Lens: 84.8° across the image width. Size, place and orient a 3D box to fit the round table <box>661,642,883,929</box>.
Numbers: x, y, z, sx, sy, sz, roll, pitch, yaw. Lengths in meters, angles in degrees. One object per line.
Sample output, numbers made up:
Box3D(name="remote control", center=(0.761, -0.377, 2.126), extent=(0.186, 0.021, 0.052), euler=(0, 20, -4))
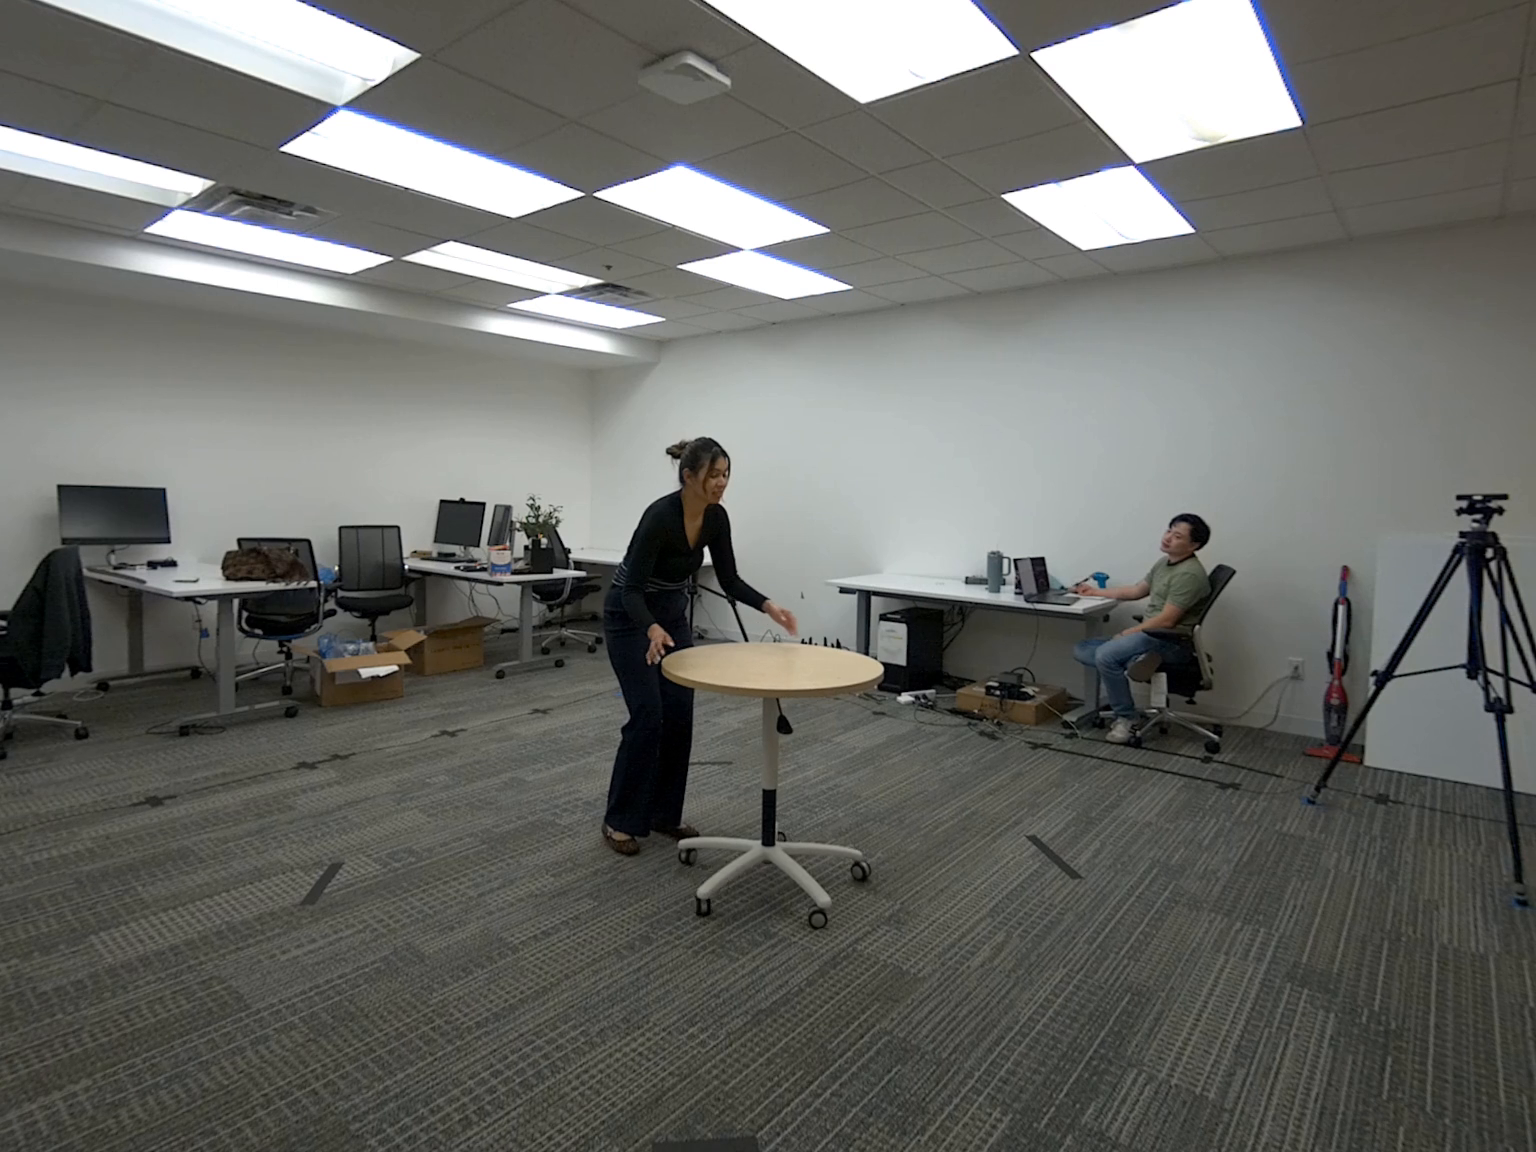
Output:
Box3D(name="round table", center=(-0.001, 0.690, 2.973), extent=(0.763, 0.791, 0.768), euler=(1, 4, -2))
